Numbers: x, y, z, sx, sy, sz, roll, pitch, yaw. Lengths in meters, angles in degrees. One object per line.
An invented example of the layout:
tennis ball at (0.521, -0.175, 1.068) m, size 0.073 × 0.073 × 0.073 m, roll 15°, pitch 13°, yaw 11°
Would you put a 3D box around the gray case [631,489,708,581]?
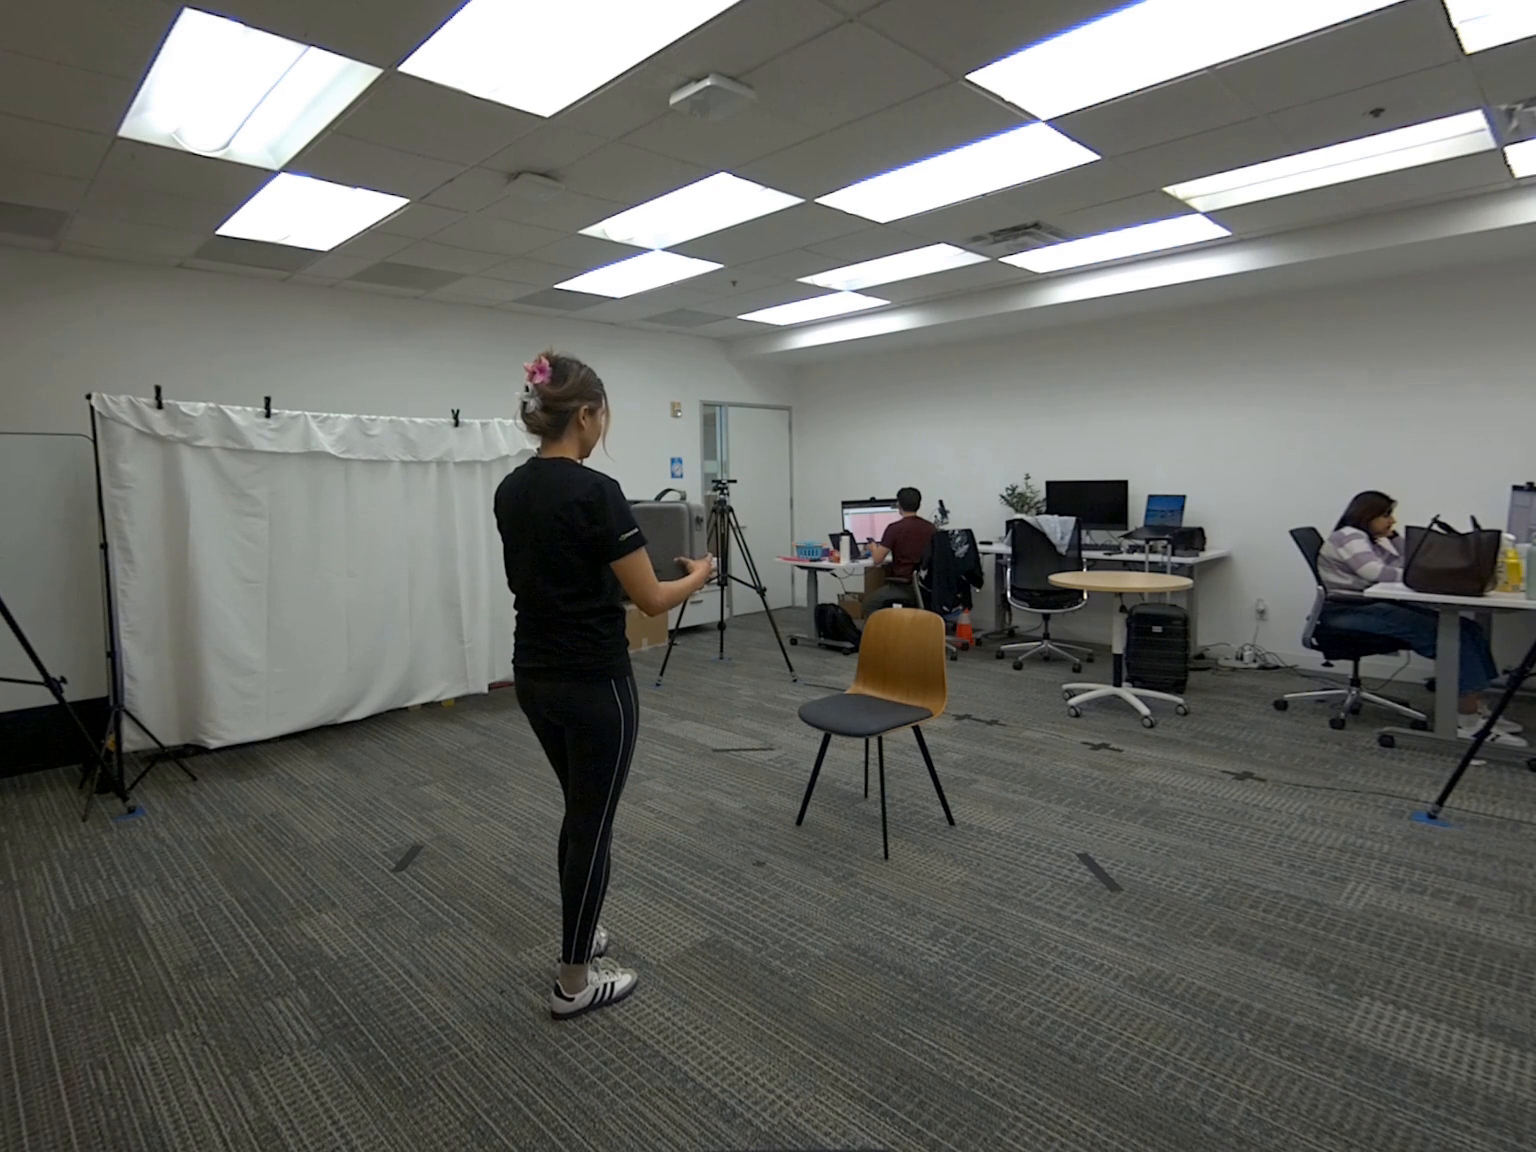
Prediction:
gray case at (-0.304, -0.098, 2.523) m, size 0.264 × 0.260 × 0.101 m, roll 2°, pitch 3°, yaw 38°
